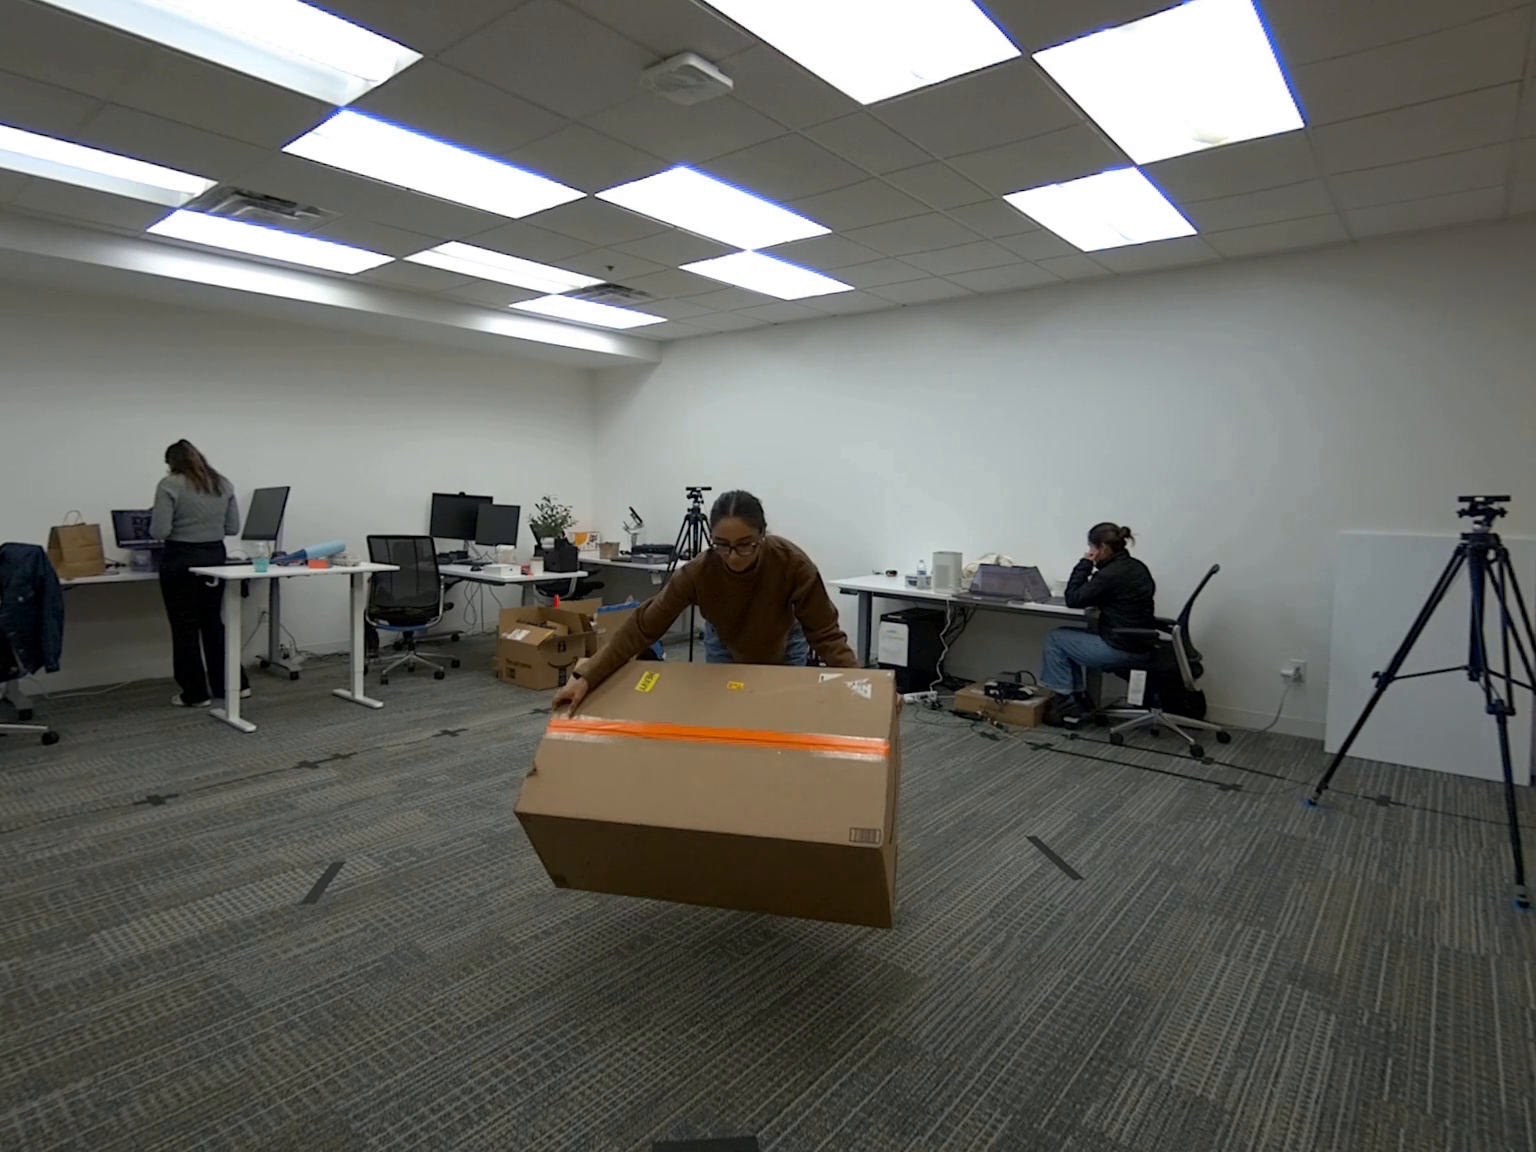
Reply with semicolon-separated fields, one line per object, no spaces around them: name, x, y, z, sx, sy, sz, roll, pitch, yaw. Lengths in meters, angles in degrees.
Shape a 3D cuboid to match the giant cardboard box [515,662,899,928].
giant cardboard box;-0.148;0.616;2.554;1.043;0.412;0.588;0;40;16
